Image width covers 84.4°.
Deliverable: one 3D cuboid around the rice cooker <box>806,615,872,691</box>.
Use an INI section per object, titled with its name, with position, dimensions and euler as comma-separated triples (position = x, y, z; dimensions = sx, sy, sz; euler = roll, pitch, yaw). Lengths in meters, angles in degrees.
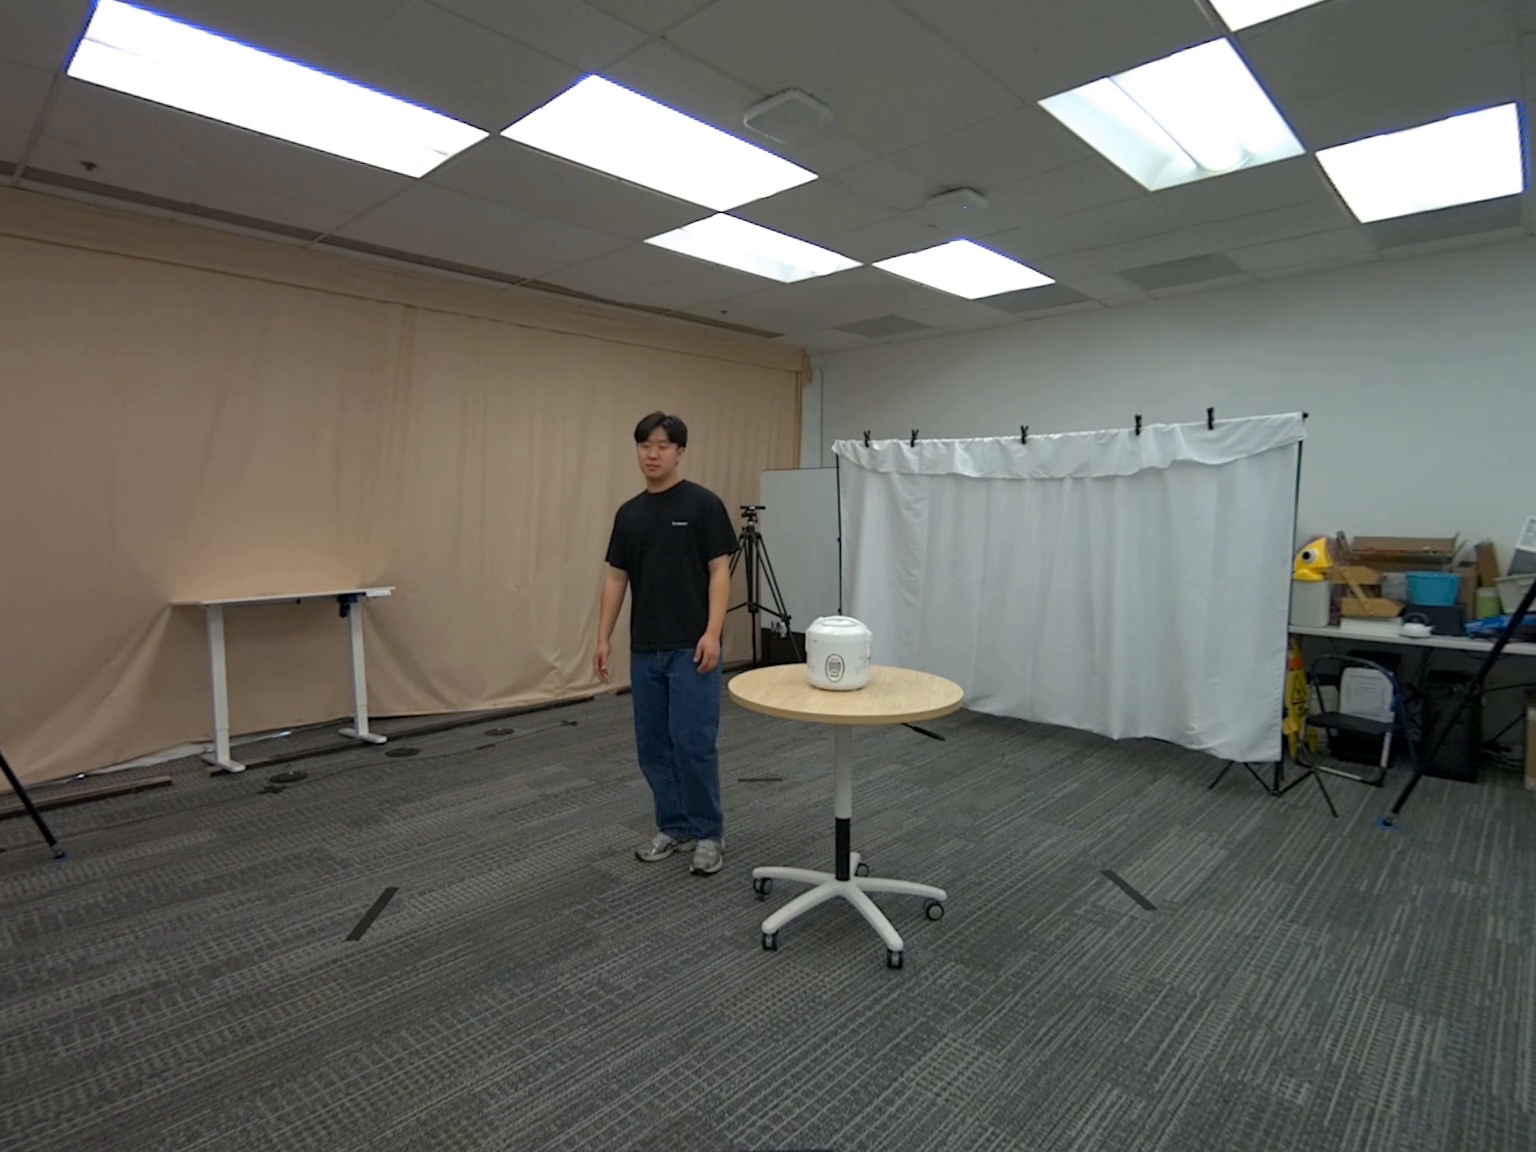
[rice cooker]
position = 0.241, 0.251, 2.777
dimensions = 0.224, 0.232, 0.215
euler = 1, 4, 12
